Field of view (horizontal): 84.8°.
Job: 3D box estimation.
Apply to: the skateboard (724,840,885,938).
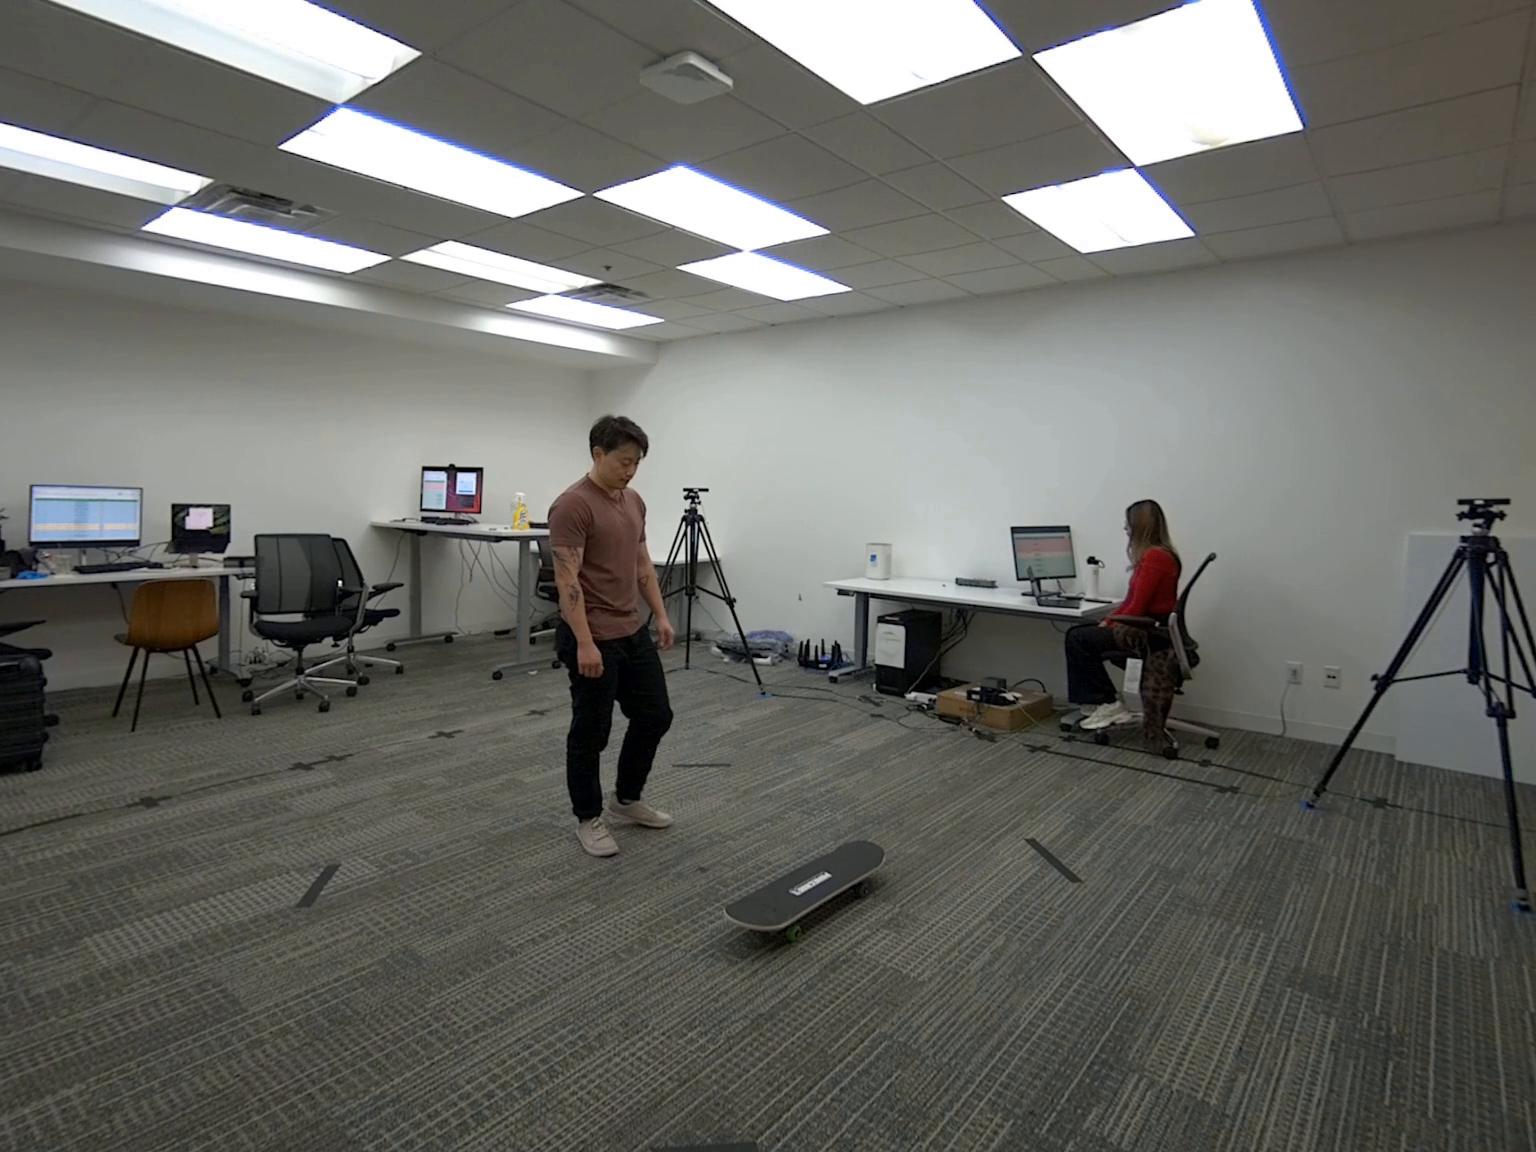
[{"bbox_3d":[0.141,1.049,2.822,0.200,0.110,0.762,7,8,39],"label":"skateboard"}]
